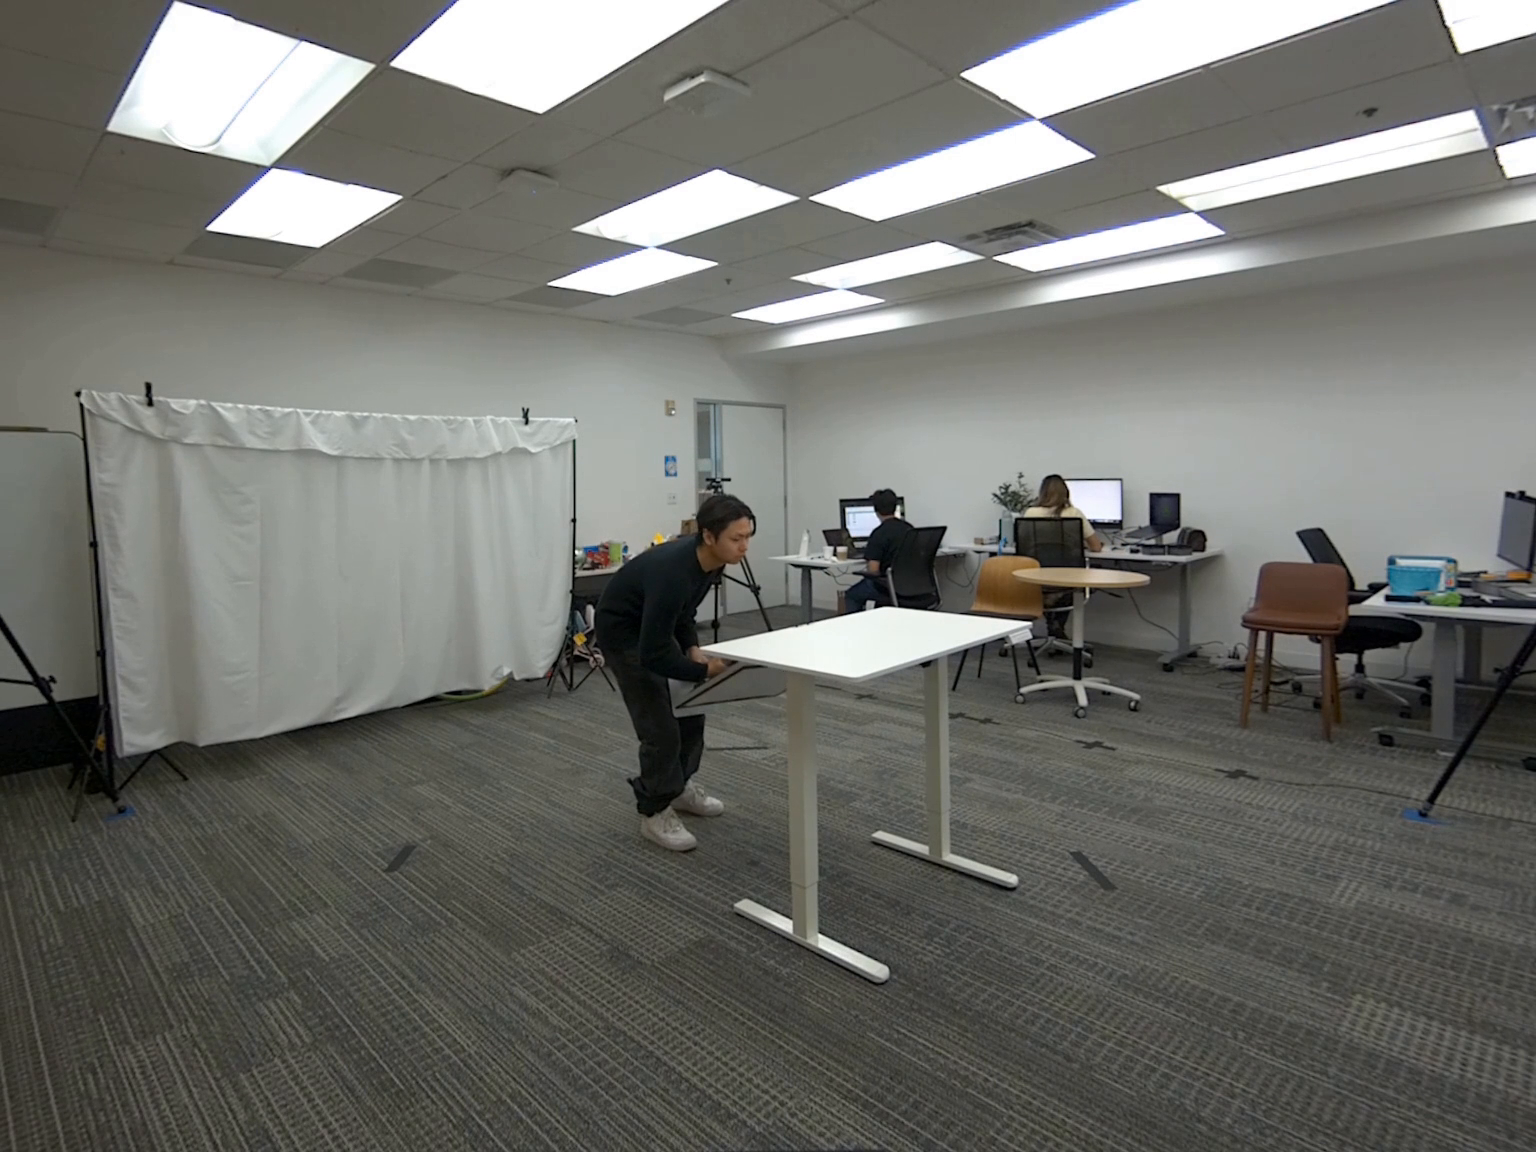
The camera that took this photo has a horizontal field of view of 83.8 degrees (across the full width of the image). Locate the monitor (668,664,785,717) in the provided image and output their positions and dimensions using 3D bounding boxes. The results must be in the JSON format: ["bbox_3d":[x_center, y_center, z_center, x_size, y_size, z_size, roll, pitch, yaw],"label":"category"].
[{"bbox_3d":[-0.098,0.367,3.161,0.527,0.176,0.514,-14,-10,43],"label":"monitor"}]
